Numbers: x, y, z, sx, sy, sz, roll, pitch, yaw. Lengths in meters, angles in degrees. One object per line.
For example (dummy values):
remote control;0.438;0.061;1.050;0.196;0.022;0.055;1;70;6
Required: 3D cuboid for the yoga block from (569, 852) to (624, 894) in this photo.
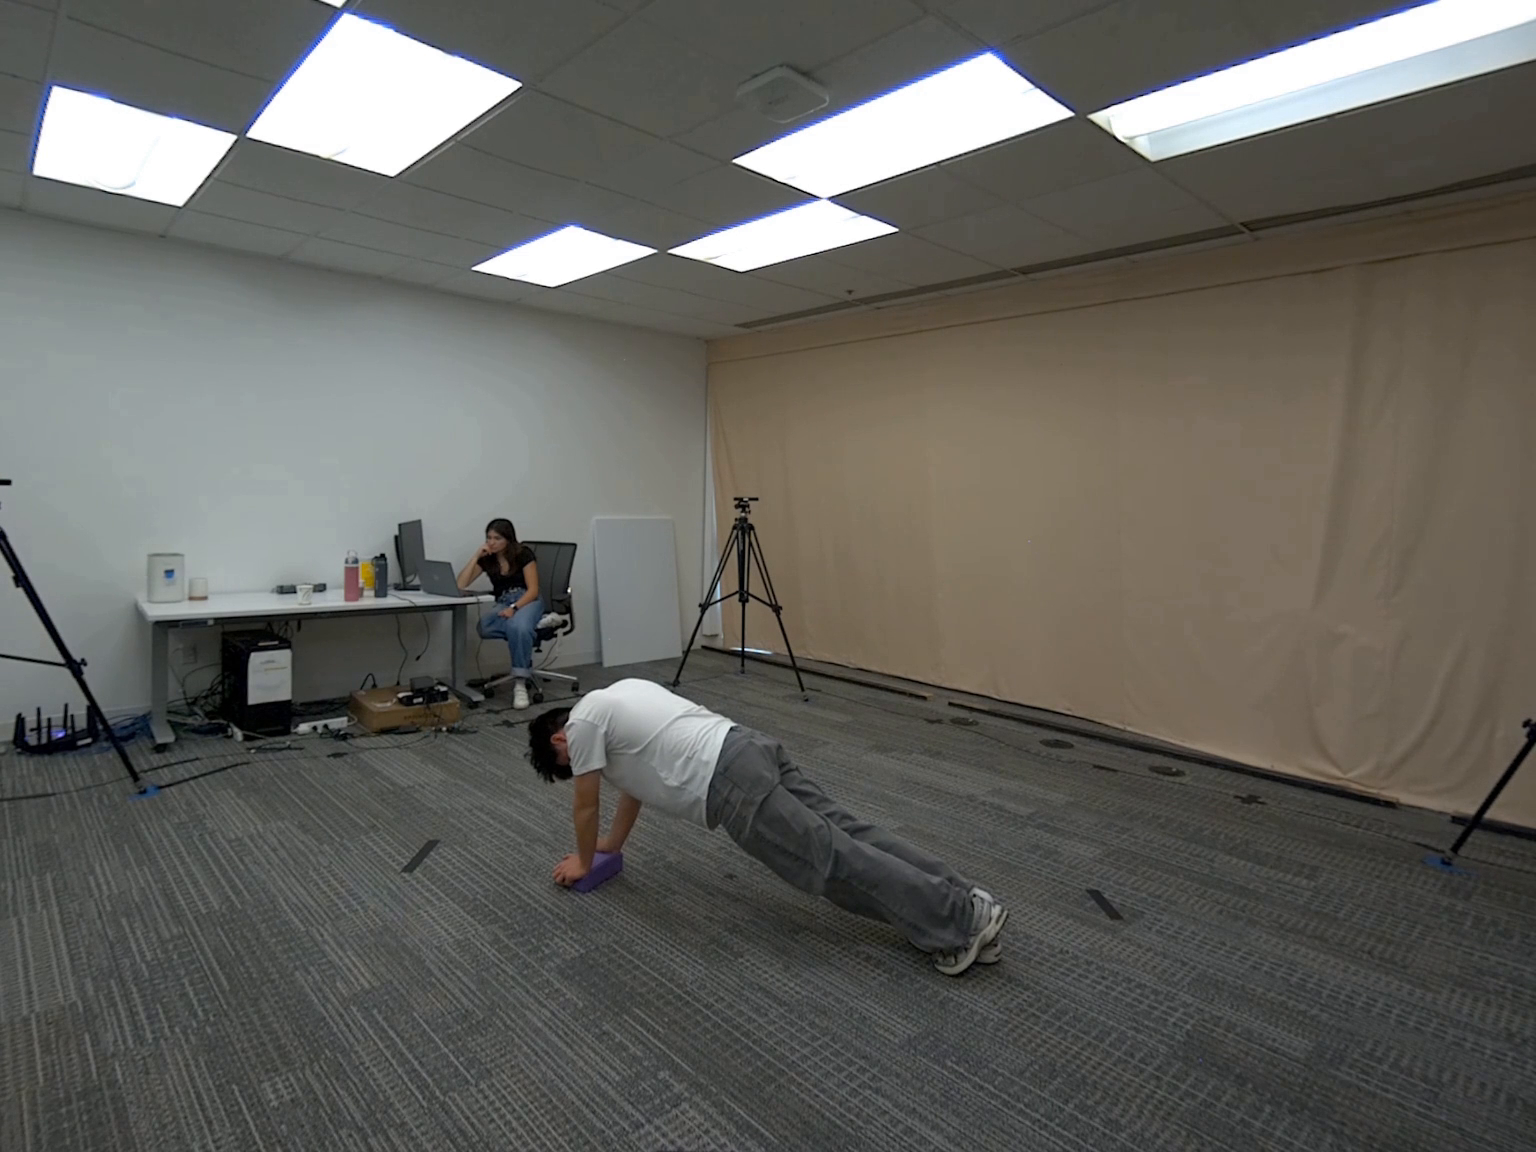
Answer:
yoga block;-0.662;1.070;3.065;0.152;0.076;0.225;2;5;27
